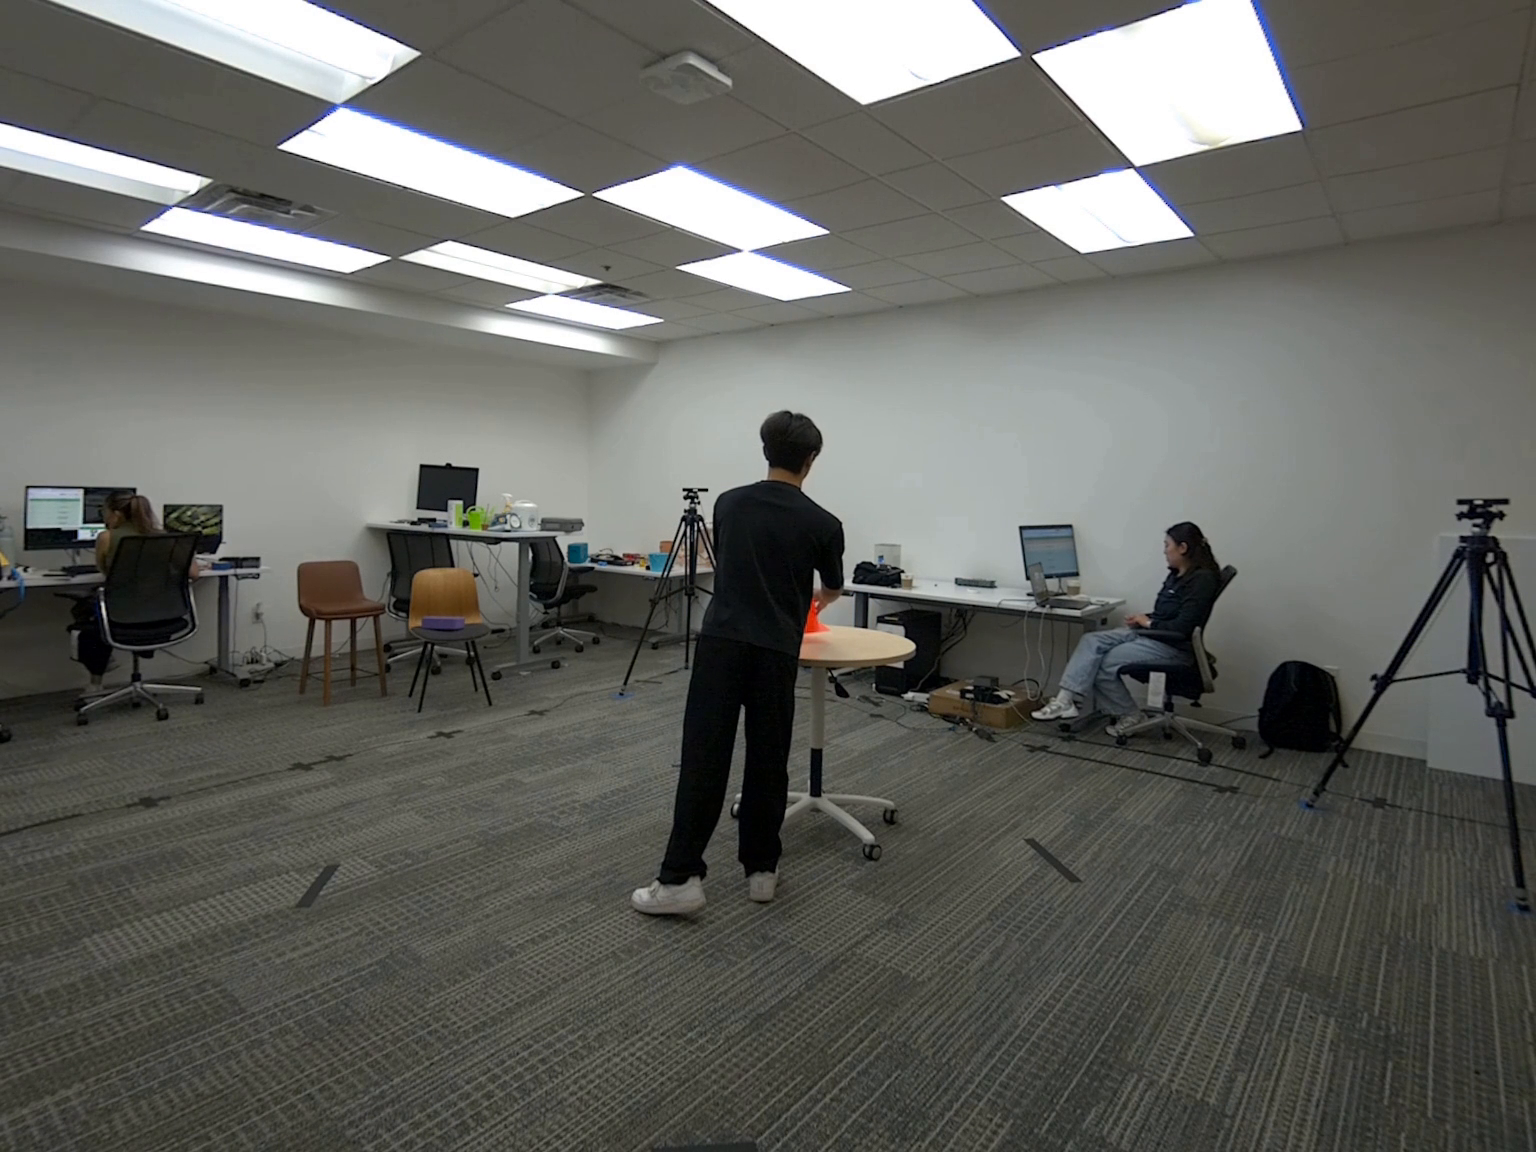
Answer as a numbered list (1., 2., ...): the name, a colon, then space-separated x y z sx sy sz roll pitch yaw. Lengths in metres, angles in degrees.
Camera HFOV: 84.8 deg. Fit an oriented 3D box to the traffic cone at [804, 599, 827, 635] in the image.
1. traffic cone: 0.121 0.018 3.431 0.200 0.379 0.211 -3 12 -17
